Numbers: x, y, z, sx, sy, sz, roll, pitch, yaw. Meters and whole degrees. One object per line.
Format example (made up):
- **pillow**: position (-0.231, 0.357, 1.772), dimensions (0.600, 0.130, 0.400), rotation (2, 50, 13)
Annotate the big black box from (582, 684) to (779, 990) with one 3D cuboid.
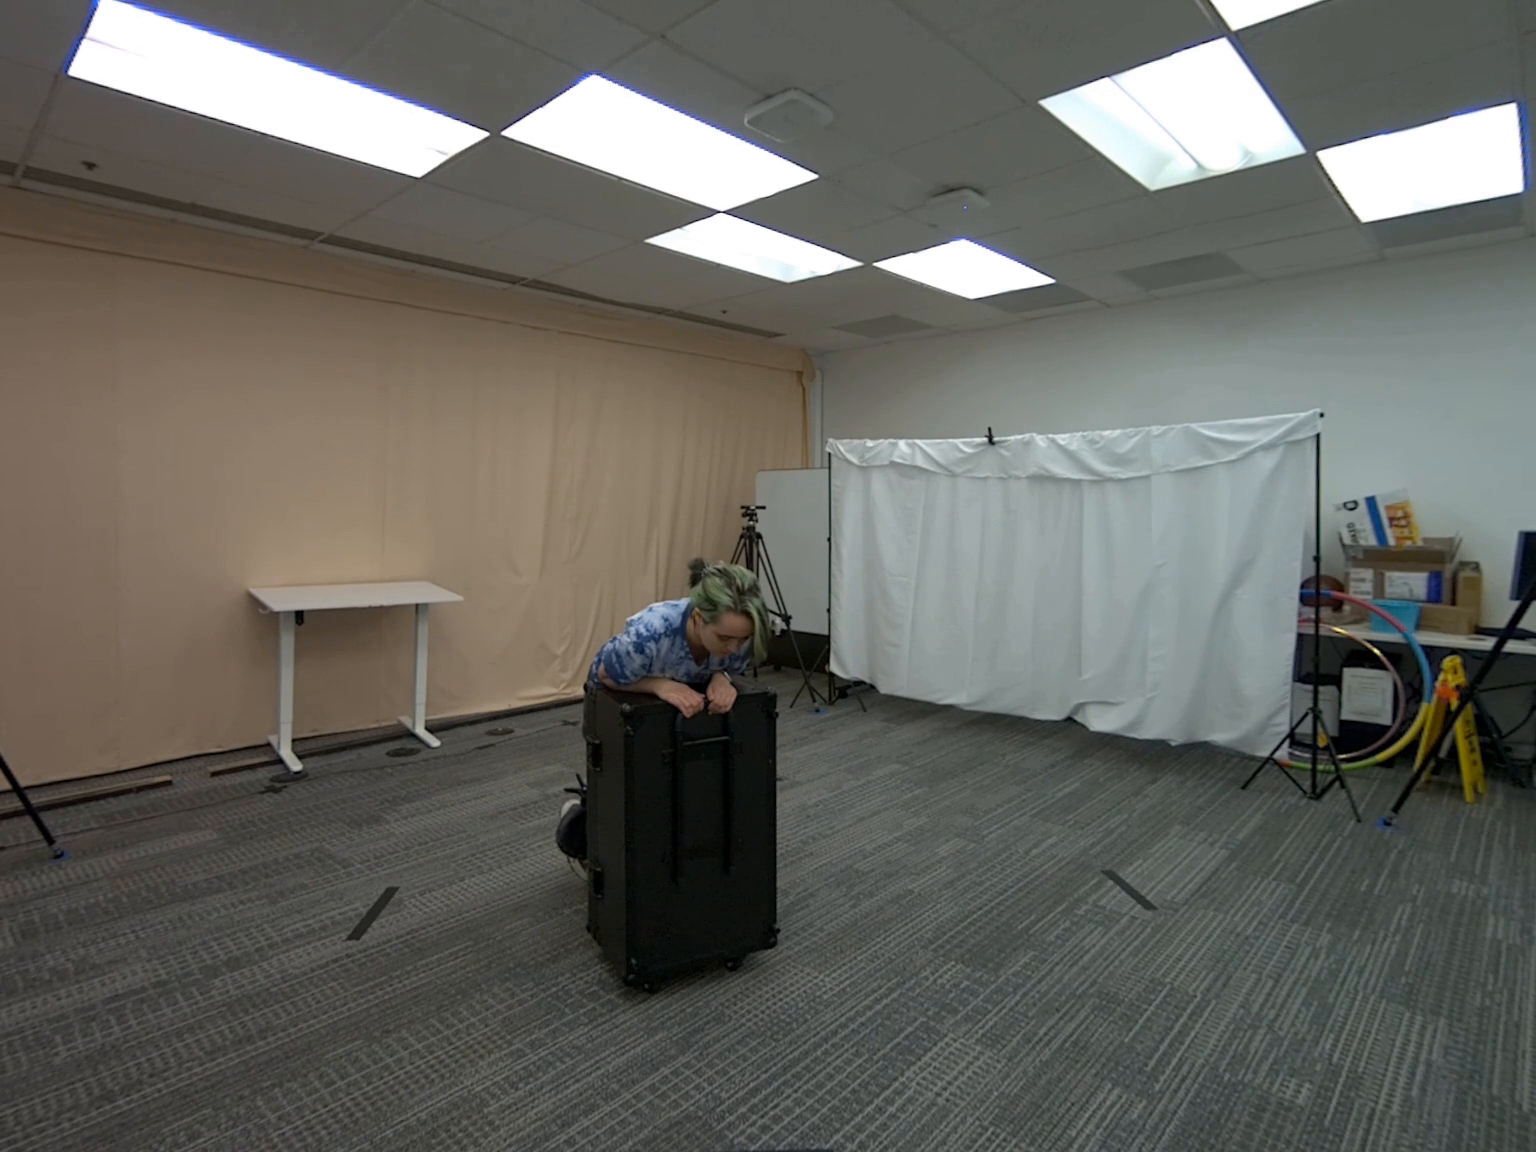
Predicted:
- **big black box**: position (-0.258, 0.706, 2.540), dimensions (0.508, 0.859, 0.407), rotation (-2, 4, -28)
